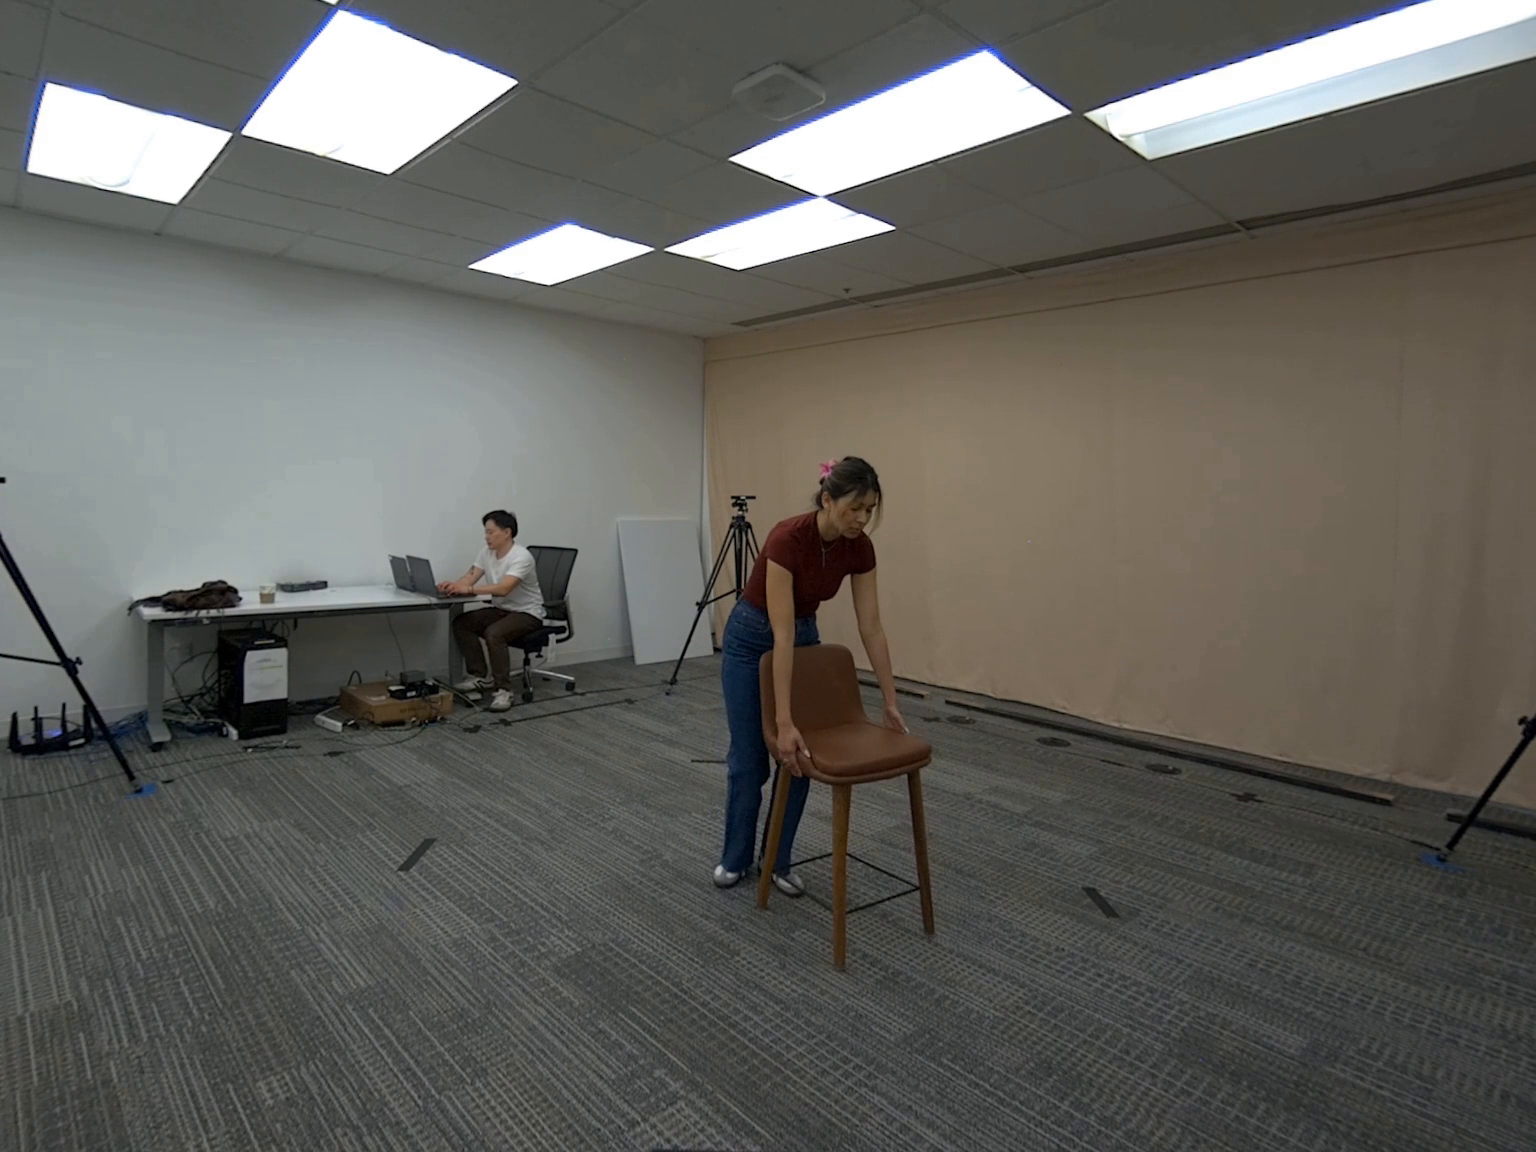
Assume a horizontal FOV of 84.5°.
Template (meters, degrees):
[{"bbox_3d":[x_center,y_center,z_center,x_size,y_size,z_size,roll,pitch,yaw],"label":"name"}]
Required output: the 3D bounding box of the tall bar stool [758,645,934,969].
[{"bbox_3d":[0.240,0.701,2.757,0.447,0.889,0.478,-1,1,-34],"label":"tall bar stool"}]
